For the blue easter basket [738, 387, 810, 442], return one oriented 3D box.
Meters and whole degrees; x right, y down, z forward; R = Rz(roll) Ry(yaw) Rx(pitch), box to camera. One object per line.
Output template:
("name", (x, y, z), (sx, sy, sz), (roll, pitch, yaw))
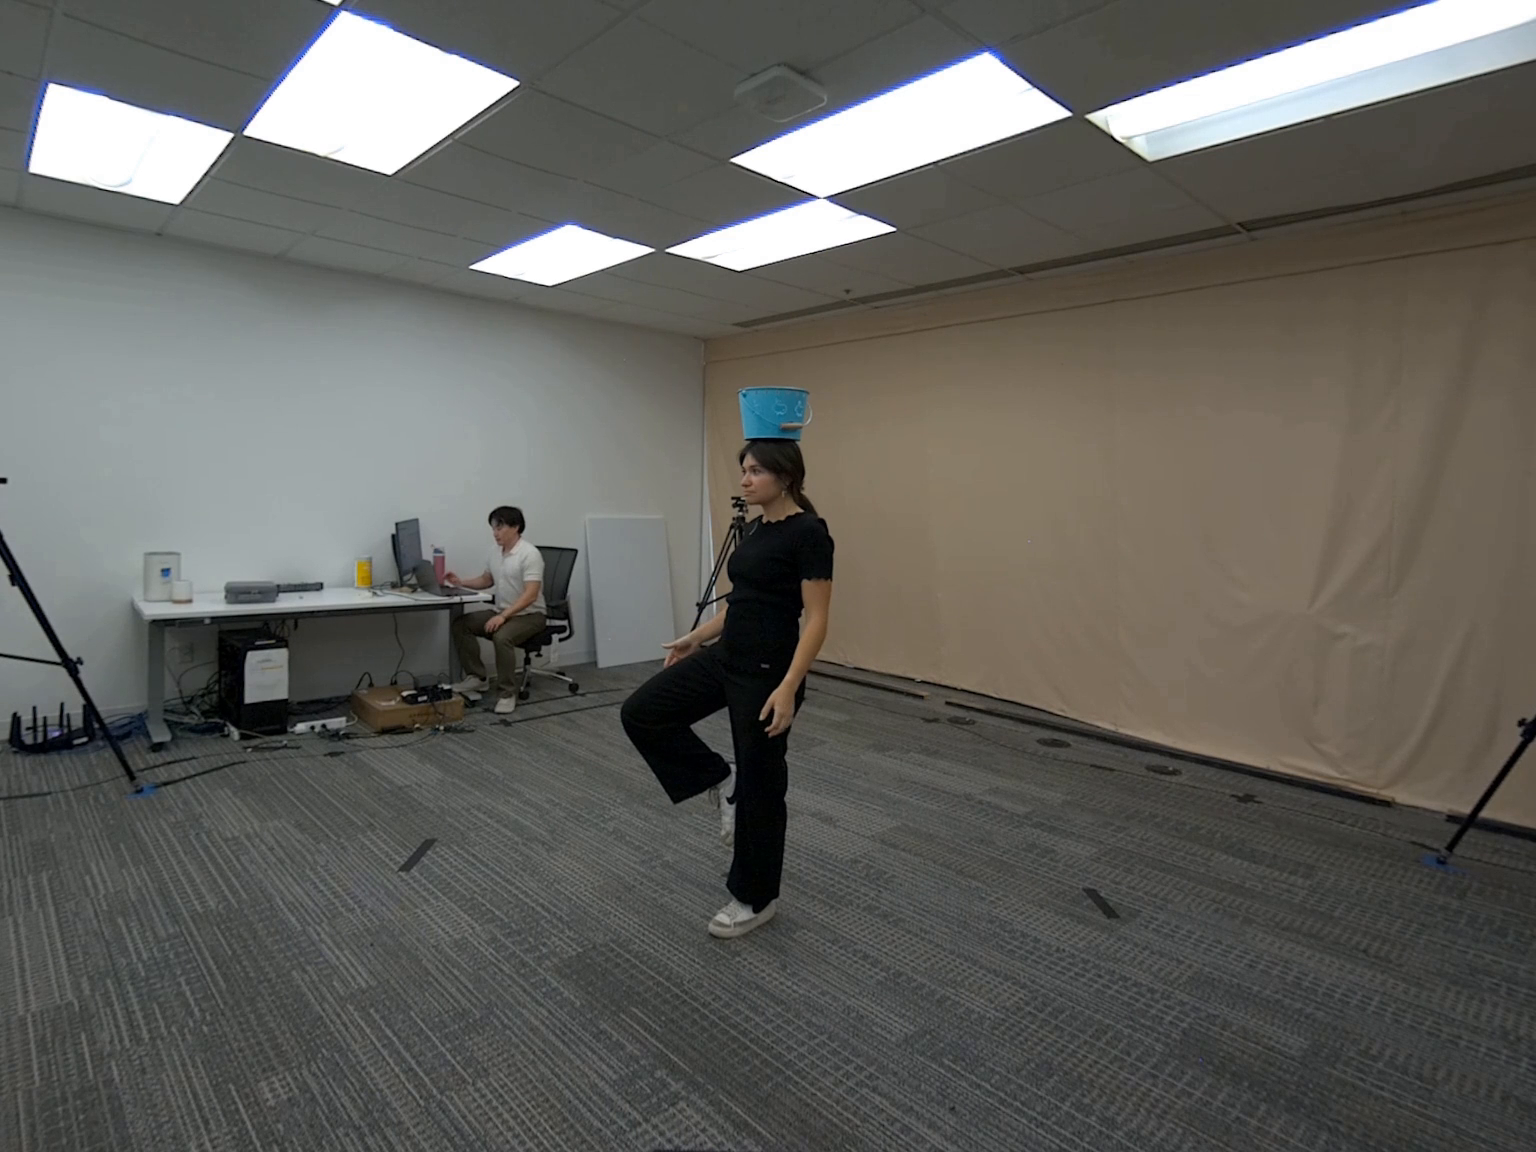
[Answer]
("blue easter basket", (0.015, -0.507, 2.664), (0.243, 0.155, 0.244), (0, 4, -1))
